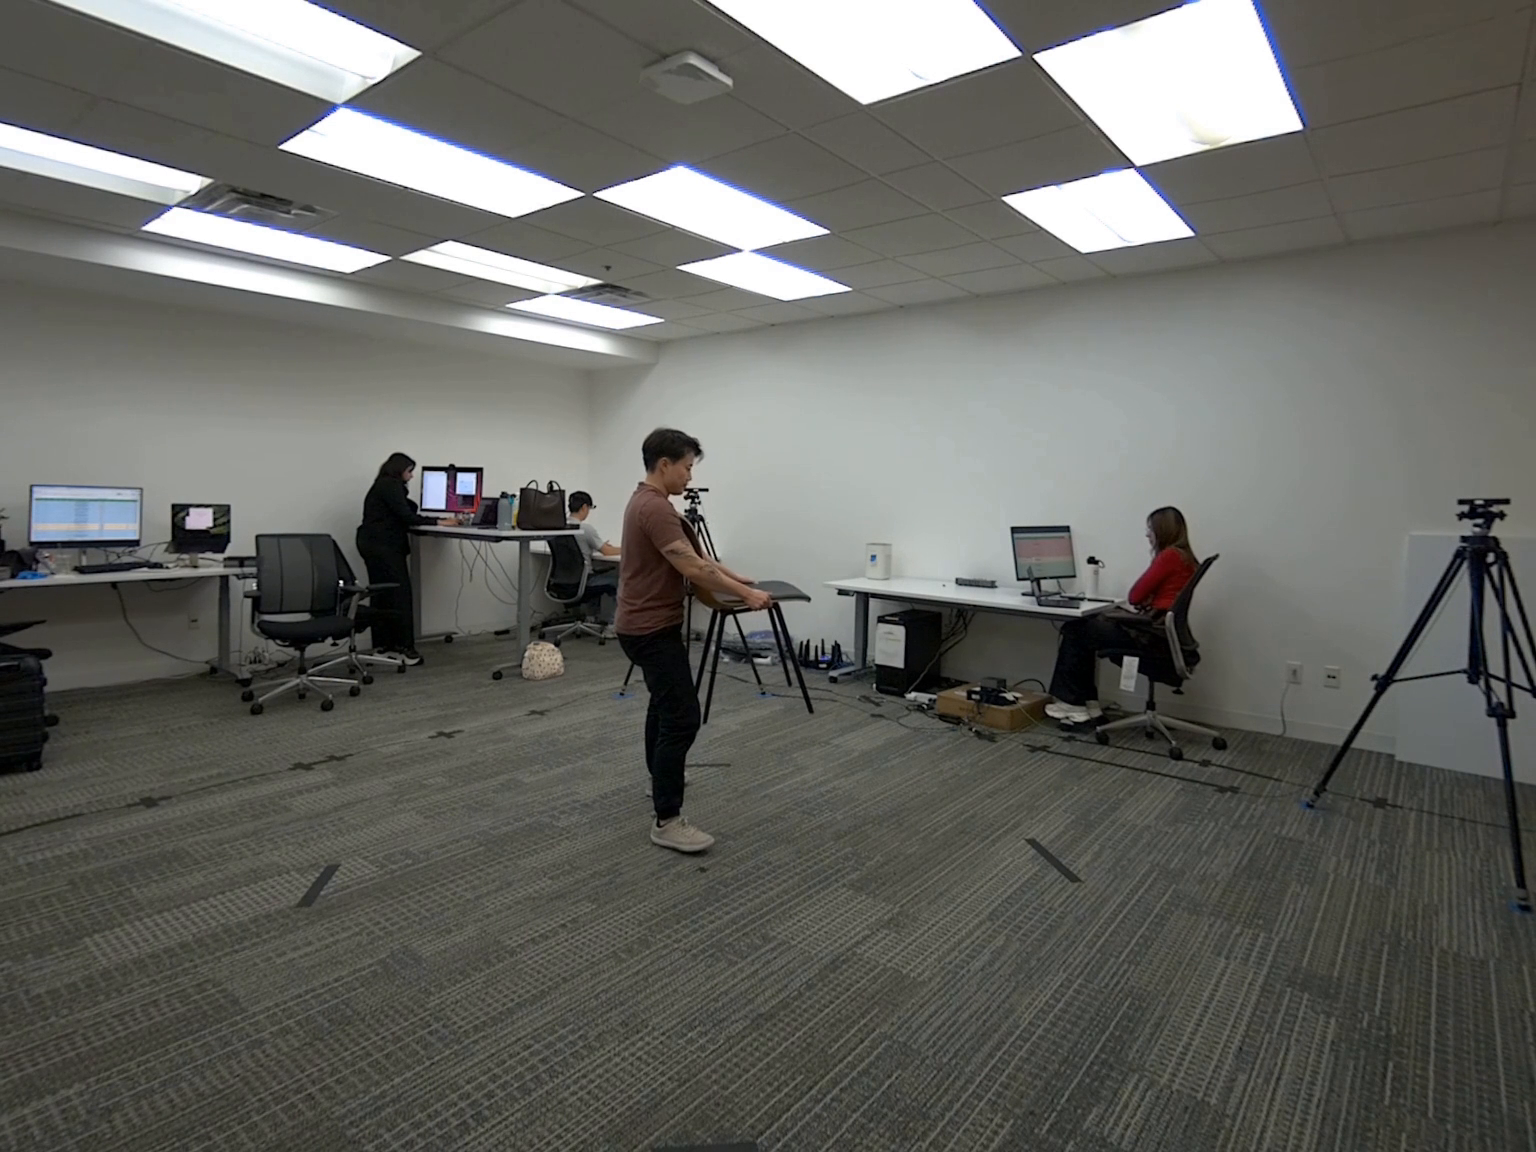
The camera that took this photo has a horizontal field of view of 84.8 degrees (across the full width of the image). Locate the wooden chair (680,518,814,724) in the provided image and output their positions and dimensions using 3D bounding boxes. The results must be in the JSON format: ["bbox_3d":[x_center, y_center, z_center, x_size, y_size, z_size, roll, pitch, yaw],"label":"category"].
[{"bbox_3d":[-0.098,0.133,3.615,0.519,0.872,0.485,-8,6,-8],"label":"wooden chair"}]
